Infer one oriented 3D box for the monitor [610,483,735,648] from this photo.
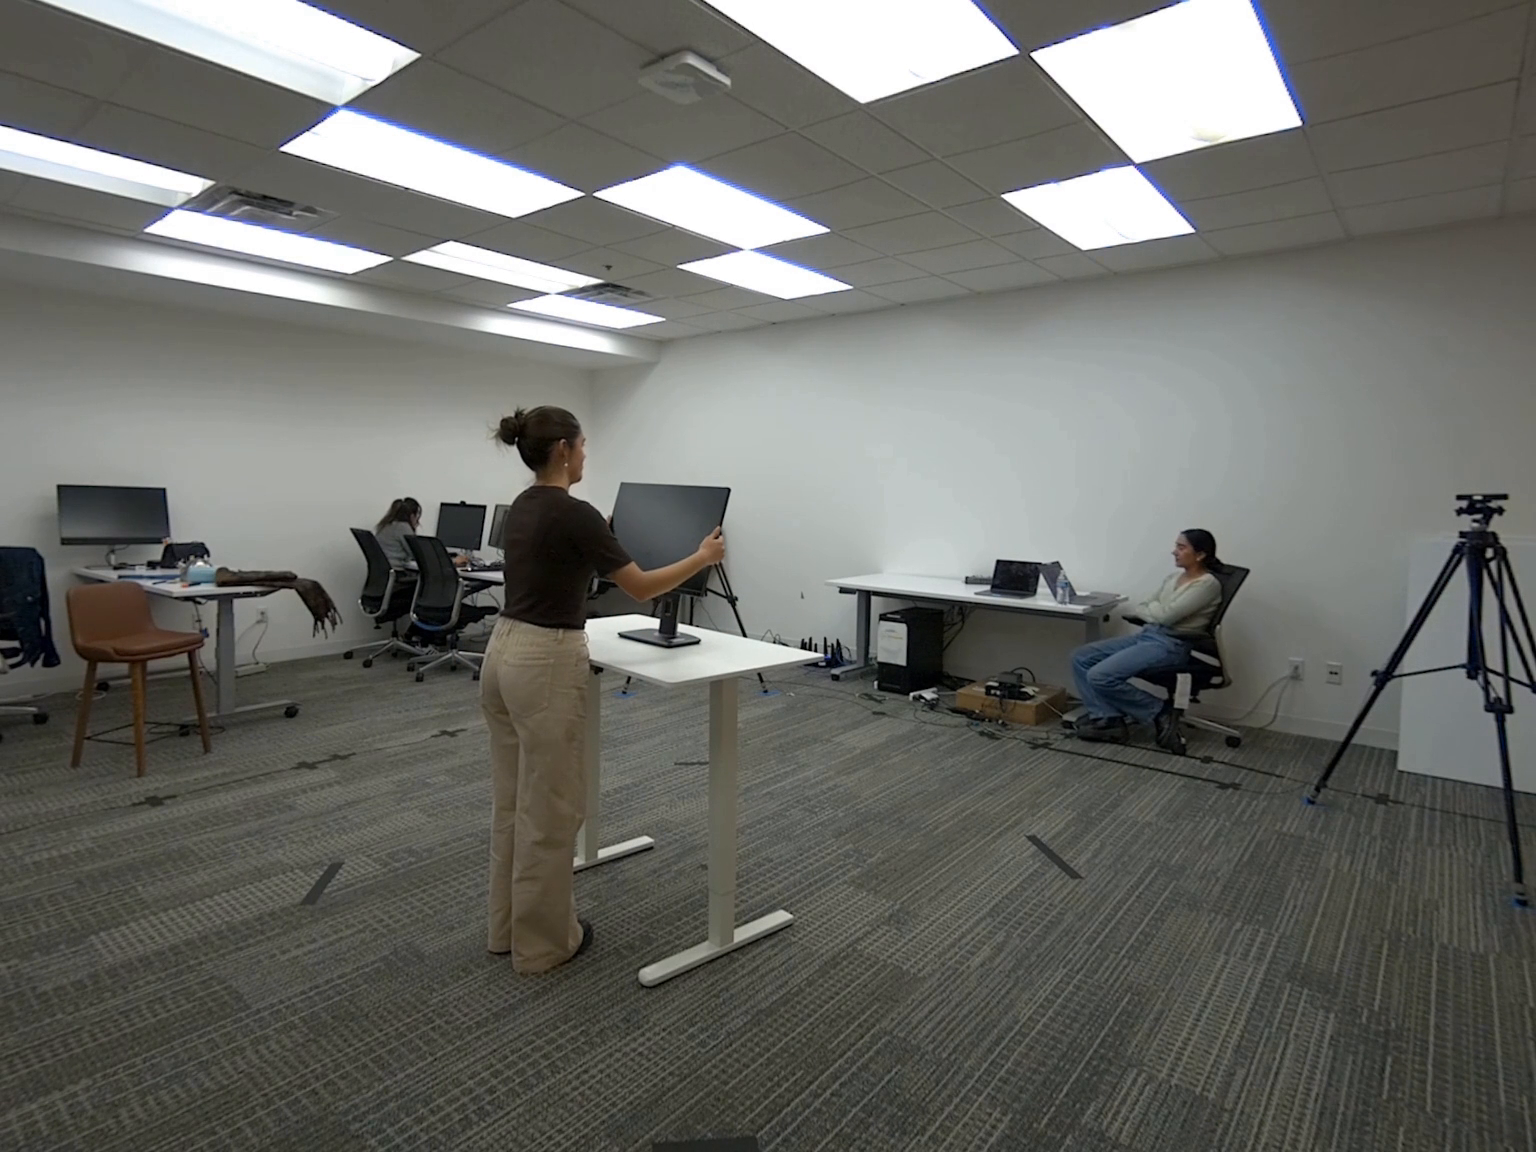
[{"bbox_3d":[-0.355,-0.043,2.820,0.558,0.522,0.181,6,2,41],"label":"monitor"}]
